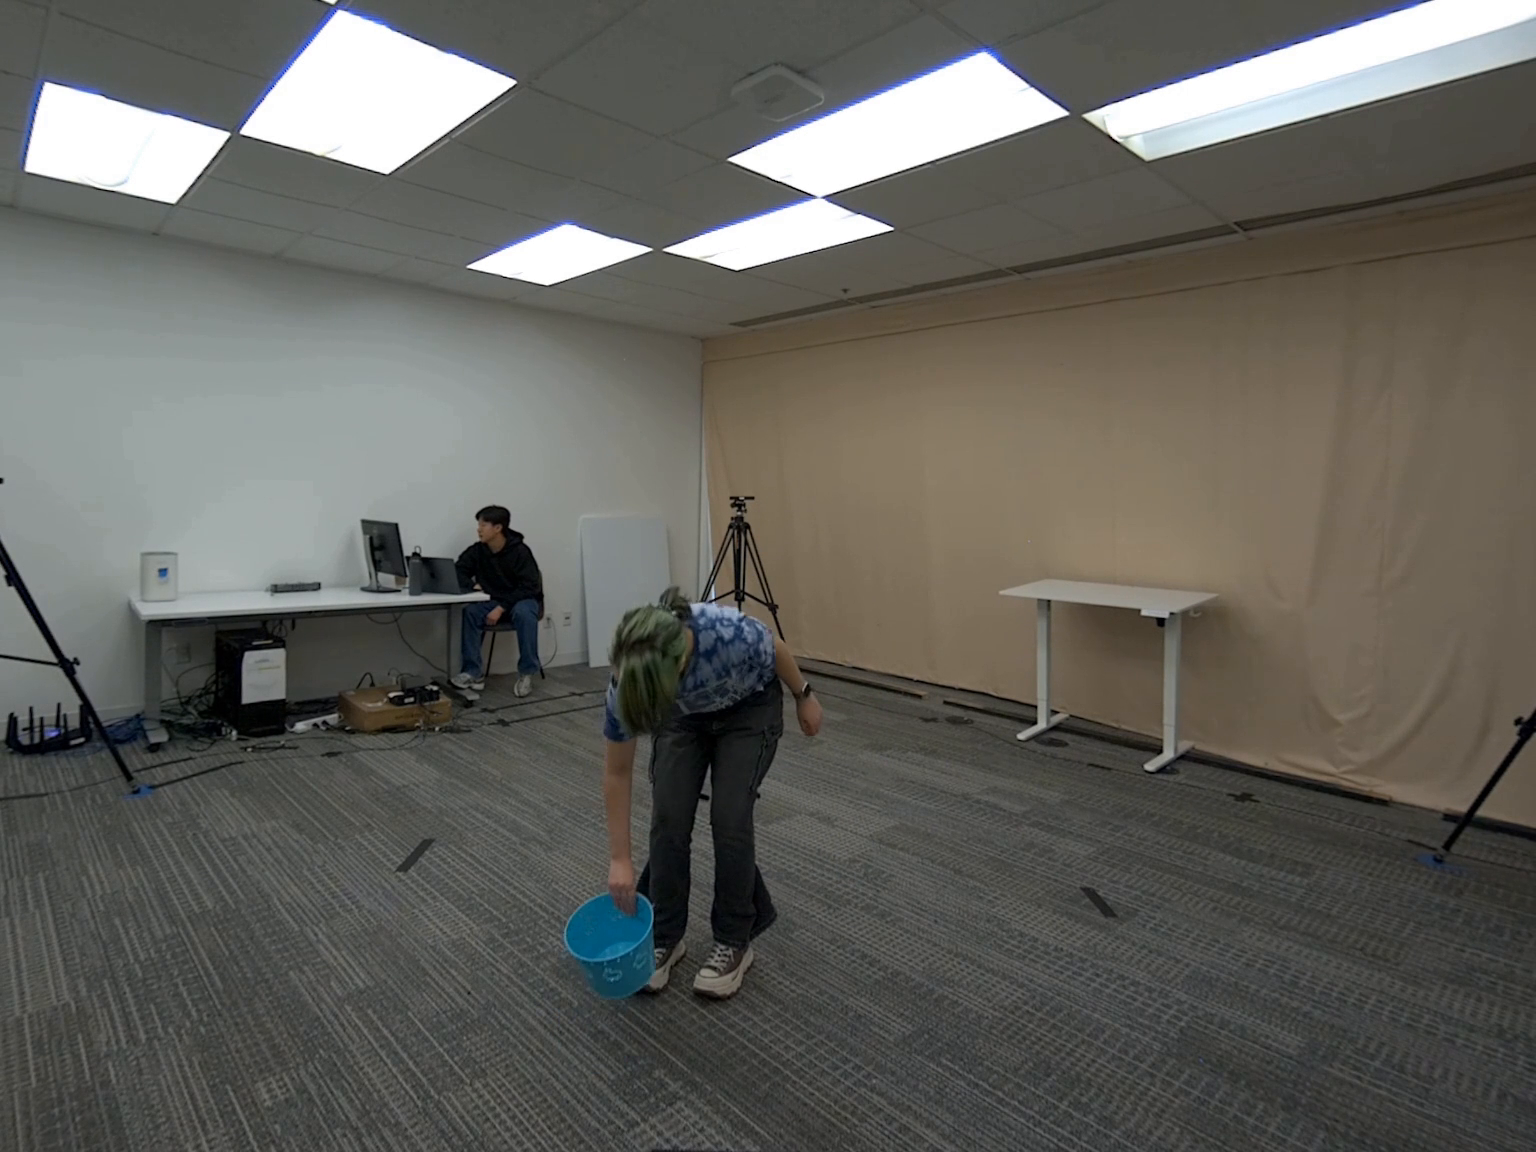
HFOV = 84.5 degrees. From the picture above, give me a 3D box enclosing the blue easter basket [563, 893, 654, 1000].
[{"bbox_3d":[-0.398,0.948,2.144,0.244,0.153,0.247,-9,21,2],"label":"blue easter basket"}]
